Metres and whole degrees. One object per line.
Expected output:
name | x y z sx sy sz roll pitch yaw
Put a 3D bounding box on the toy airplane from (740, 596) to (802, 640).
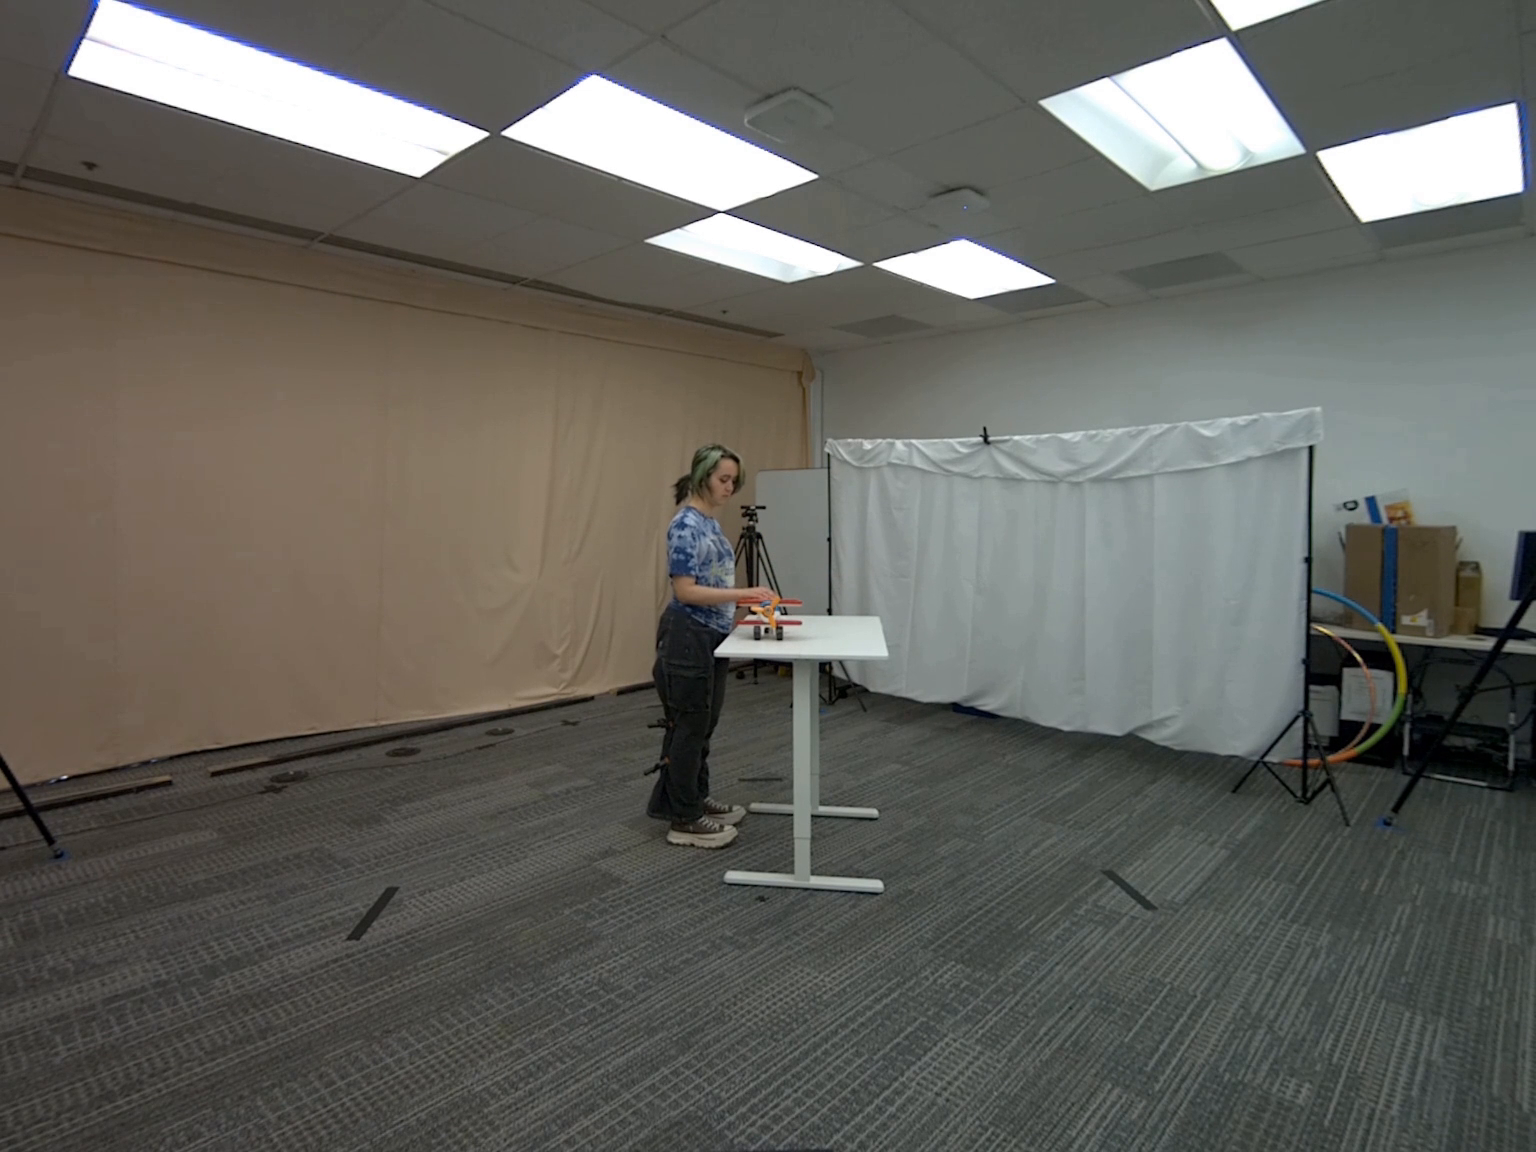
toy airplane | -0.009 0.162 3.292 0.245 0.156 0.266 -3 5 -24
